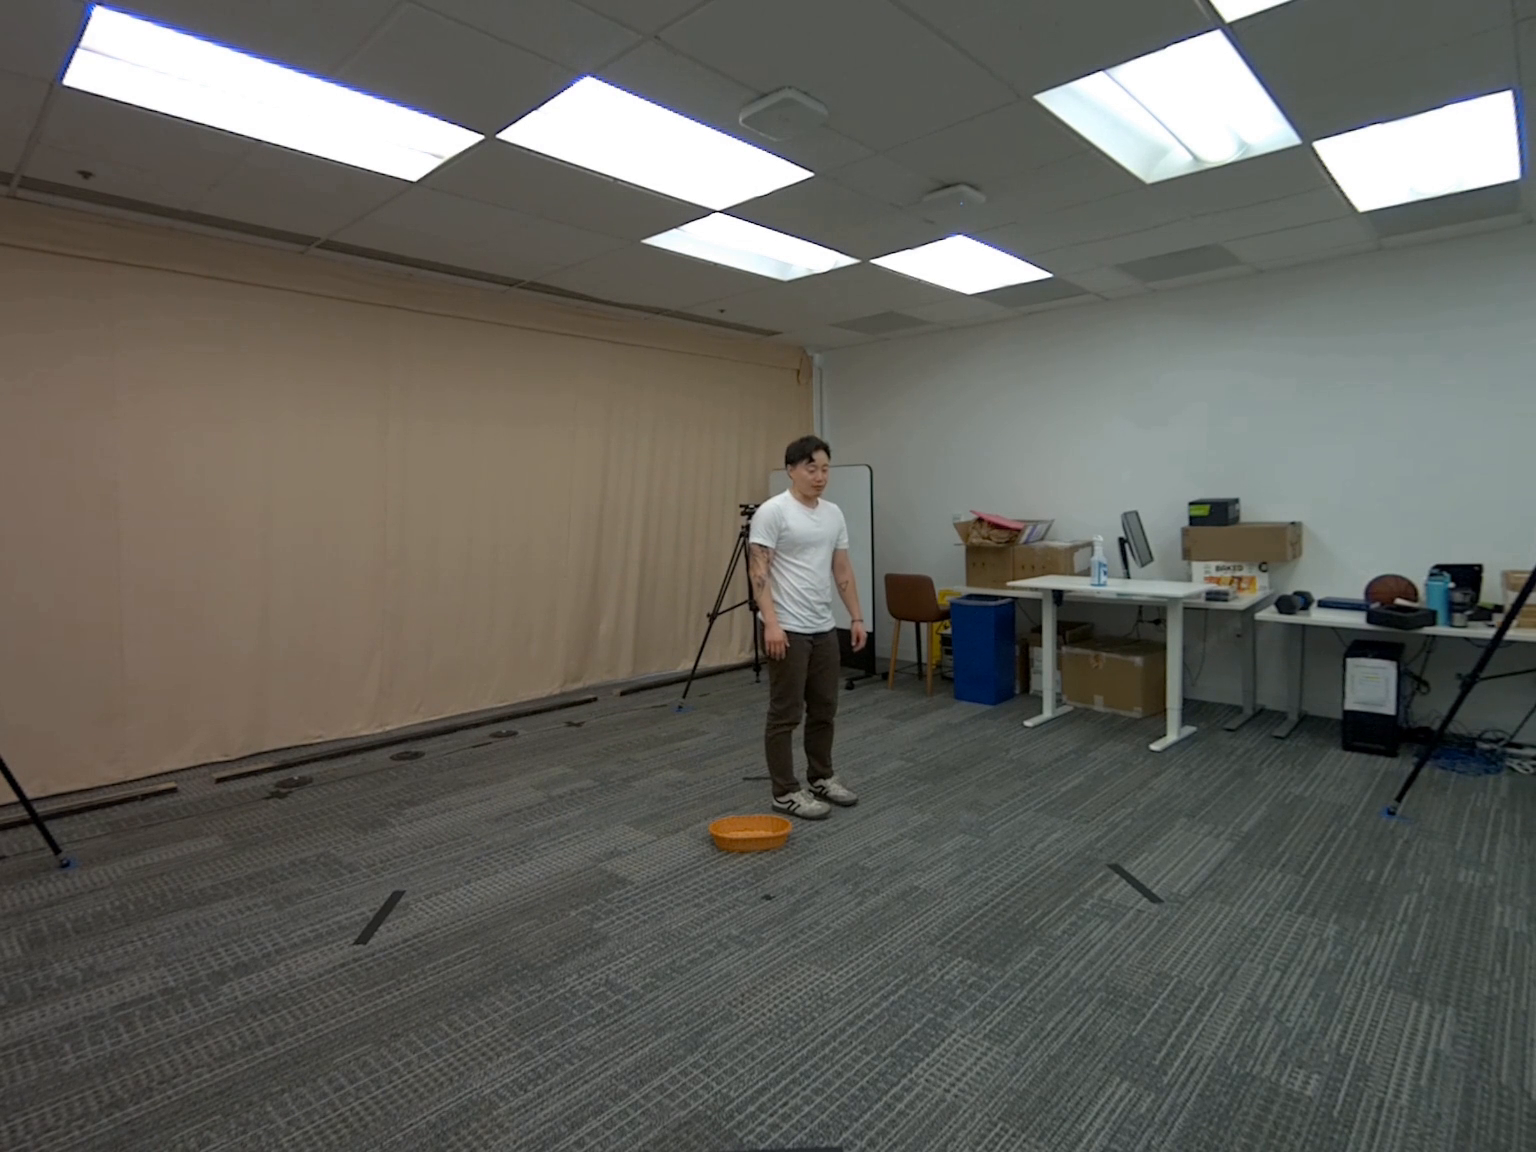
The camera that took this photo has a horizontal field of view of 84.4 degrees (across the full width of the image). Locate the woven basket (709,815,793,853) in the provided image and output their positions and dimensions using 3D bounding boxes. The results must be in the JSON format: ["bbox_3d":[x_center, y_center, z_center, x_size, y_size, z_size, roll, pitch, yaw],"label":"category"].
[{"bbox_3d":[-0.074,1.059,3.469,0.348,0.073,0.254,-2,5,-6],"label":"woven basket"}]
